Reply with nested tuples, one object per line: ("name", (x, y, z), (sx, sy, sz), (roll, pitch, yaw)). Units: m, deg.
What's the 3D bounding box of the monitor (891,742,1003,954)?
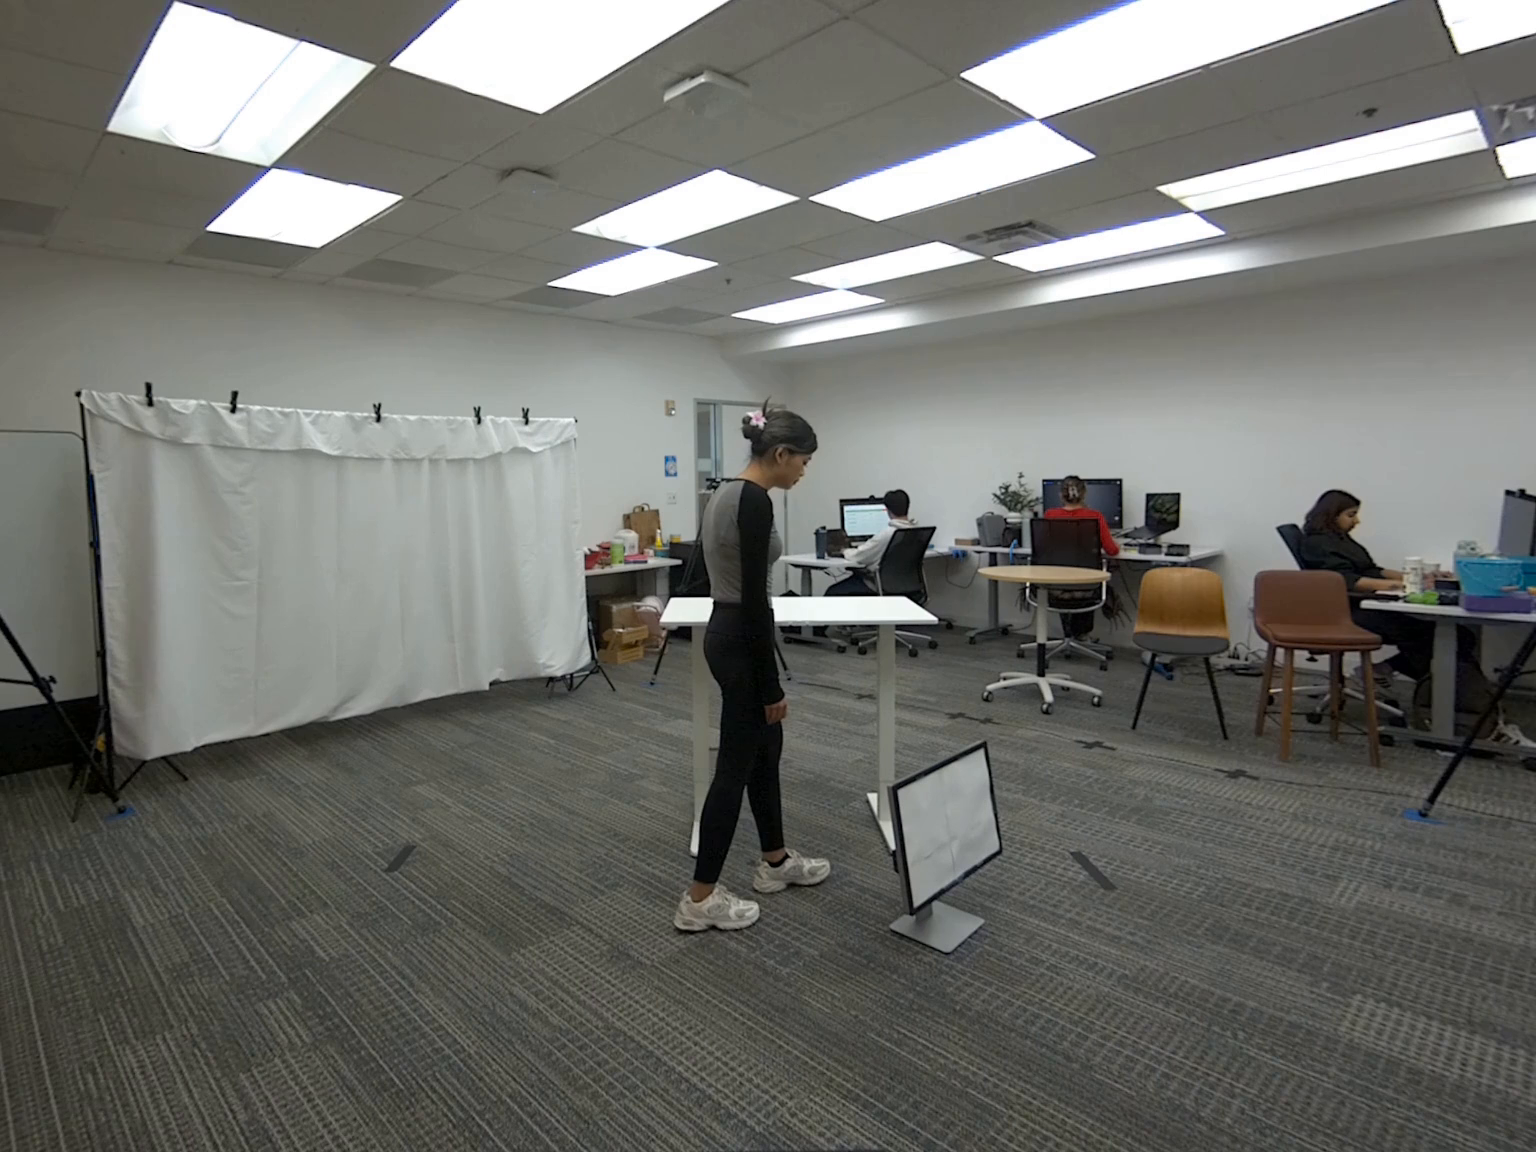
("monitor", (0.524, 0.825, 2.625), (0.193, 0.520, 0.525), (5, 8, 40))
